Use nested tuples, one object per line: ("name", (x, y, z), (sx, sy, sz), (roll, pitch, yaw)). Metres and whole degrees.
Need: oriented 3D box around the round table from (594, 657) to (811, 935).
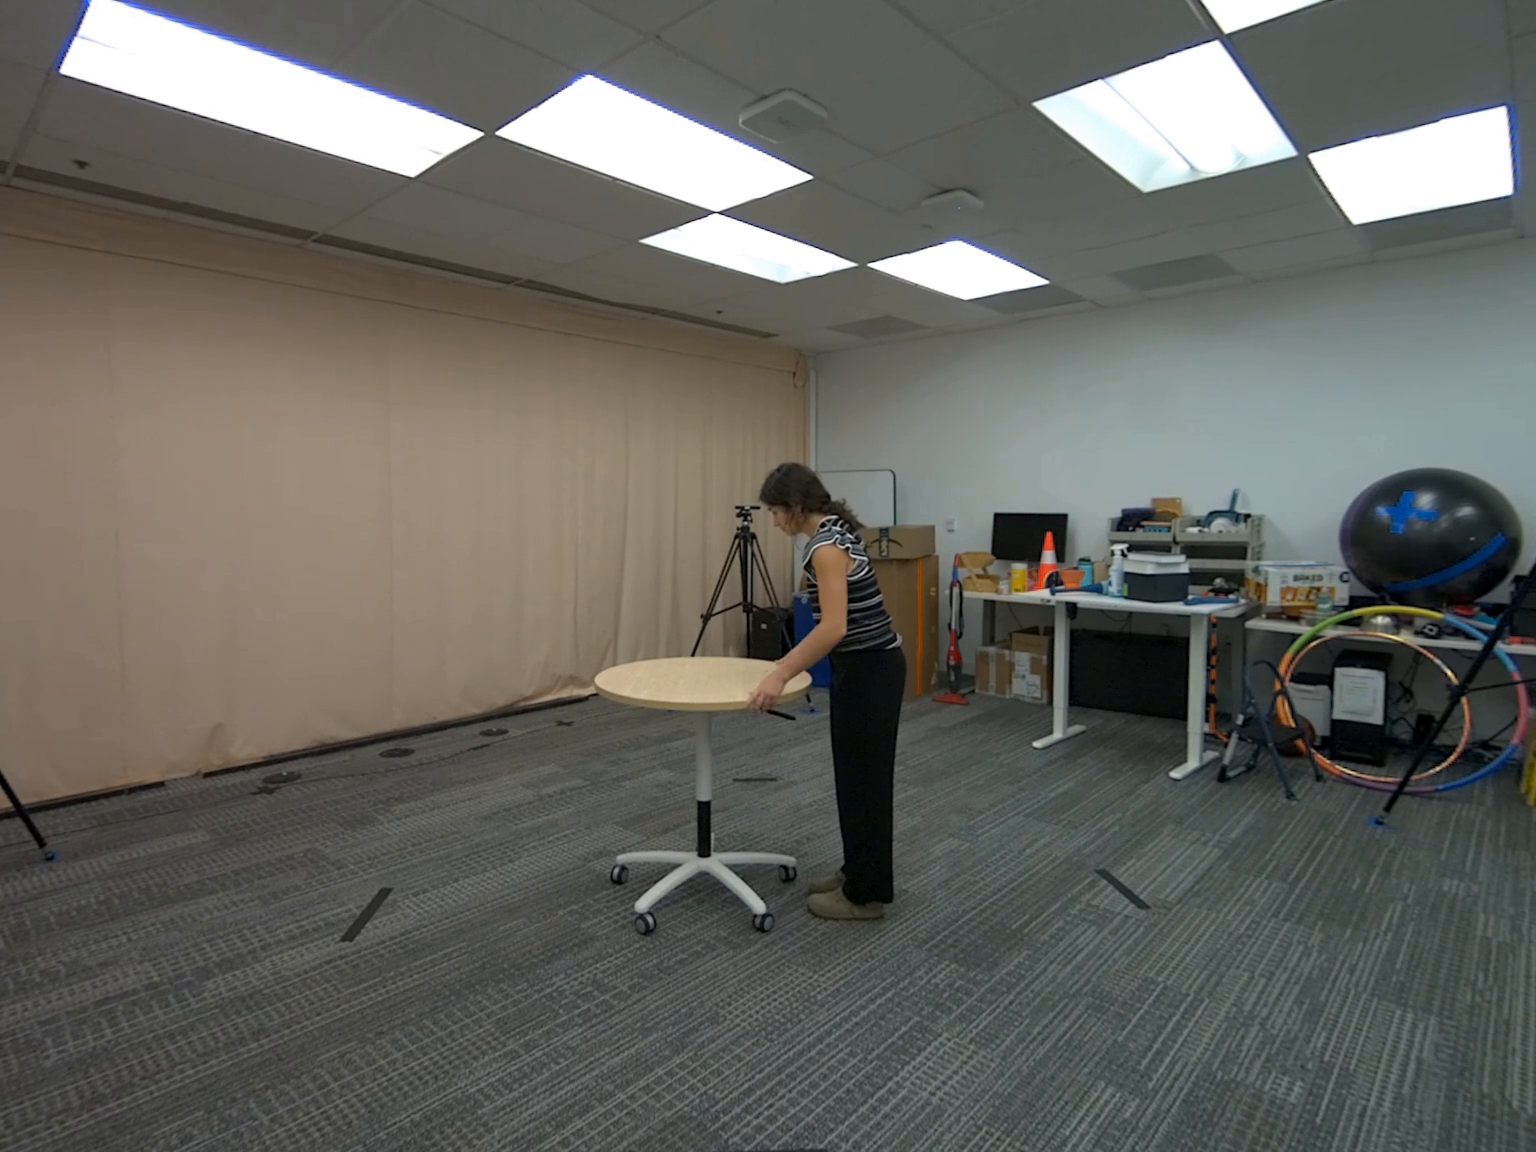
("round table", (-0.246, 0.752, 2.996), (0.784, 0.785, 0.788), (0, 4, -2))
